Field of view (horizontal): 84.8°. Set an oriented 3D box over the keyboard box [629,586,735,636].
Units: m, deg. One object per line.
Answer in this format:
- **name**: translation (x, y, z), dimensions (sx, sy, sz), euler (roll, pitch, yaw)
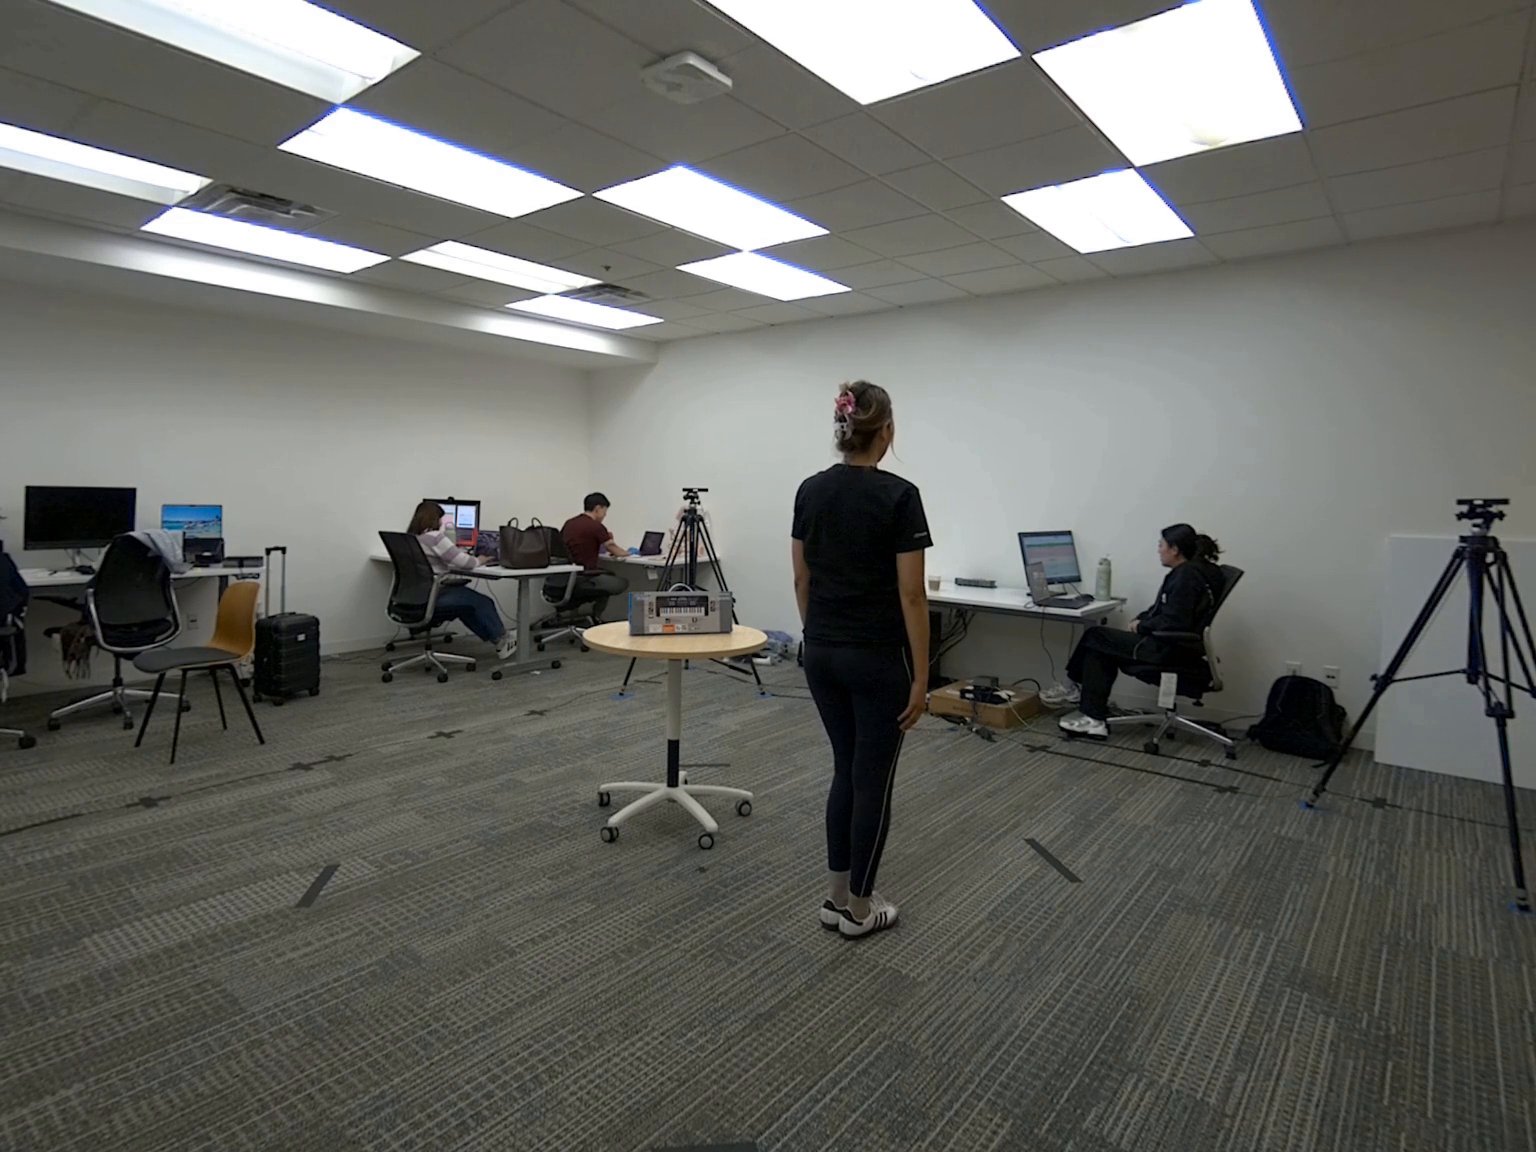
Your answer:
- **keyboard box**: translation (-0.379, 0.149, 3.565), dimensions (0.429, 0.176, 0.060), euler (-1, -2, -17)
